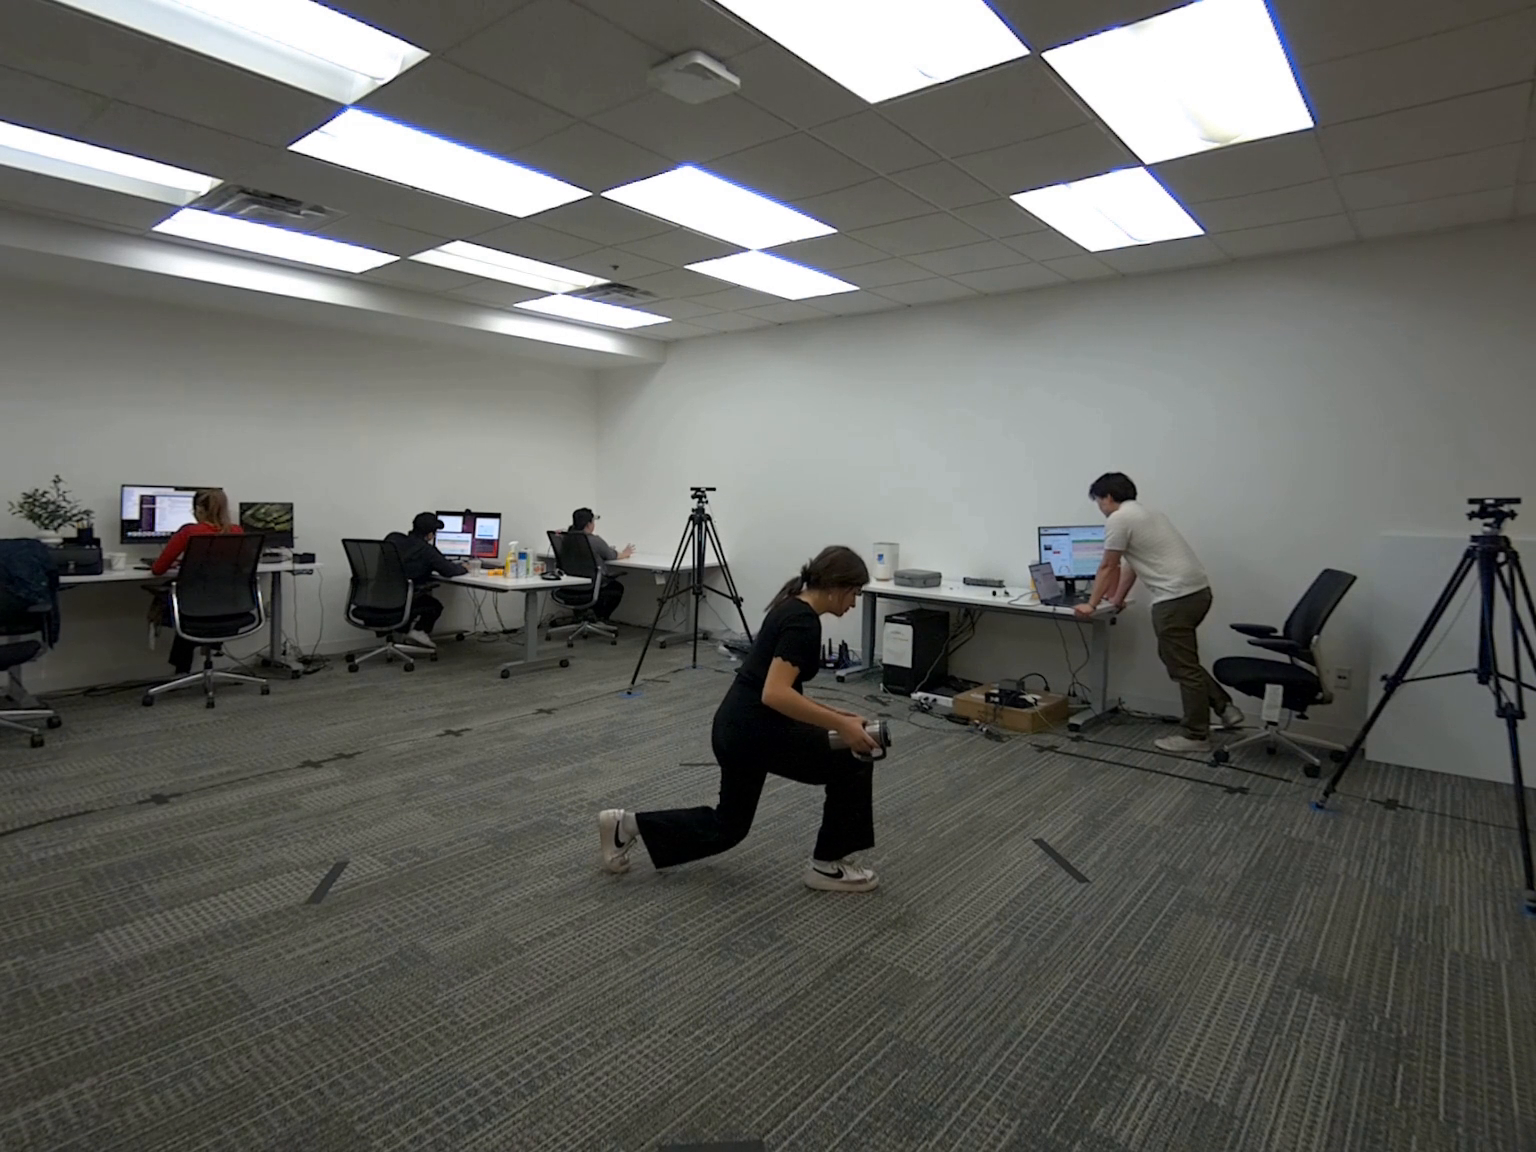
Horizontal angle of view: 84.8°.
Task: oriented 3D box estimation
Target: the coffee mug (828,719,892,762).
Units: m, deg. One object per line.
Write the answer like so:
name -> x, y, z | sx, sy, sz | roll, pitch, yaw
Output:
coffee mug -> 0.293, 0.530, 2.750 | 0.205, 0.122, 0.087 | -9, 0, 14
